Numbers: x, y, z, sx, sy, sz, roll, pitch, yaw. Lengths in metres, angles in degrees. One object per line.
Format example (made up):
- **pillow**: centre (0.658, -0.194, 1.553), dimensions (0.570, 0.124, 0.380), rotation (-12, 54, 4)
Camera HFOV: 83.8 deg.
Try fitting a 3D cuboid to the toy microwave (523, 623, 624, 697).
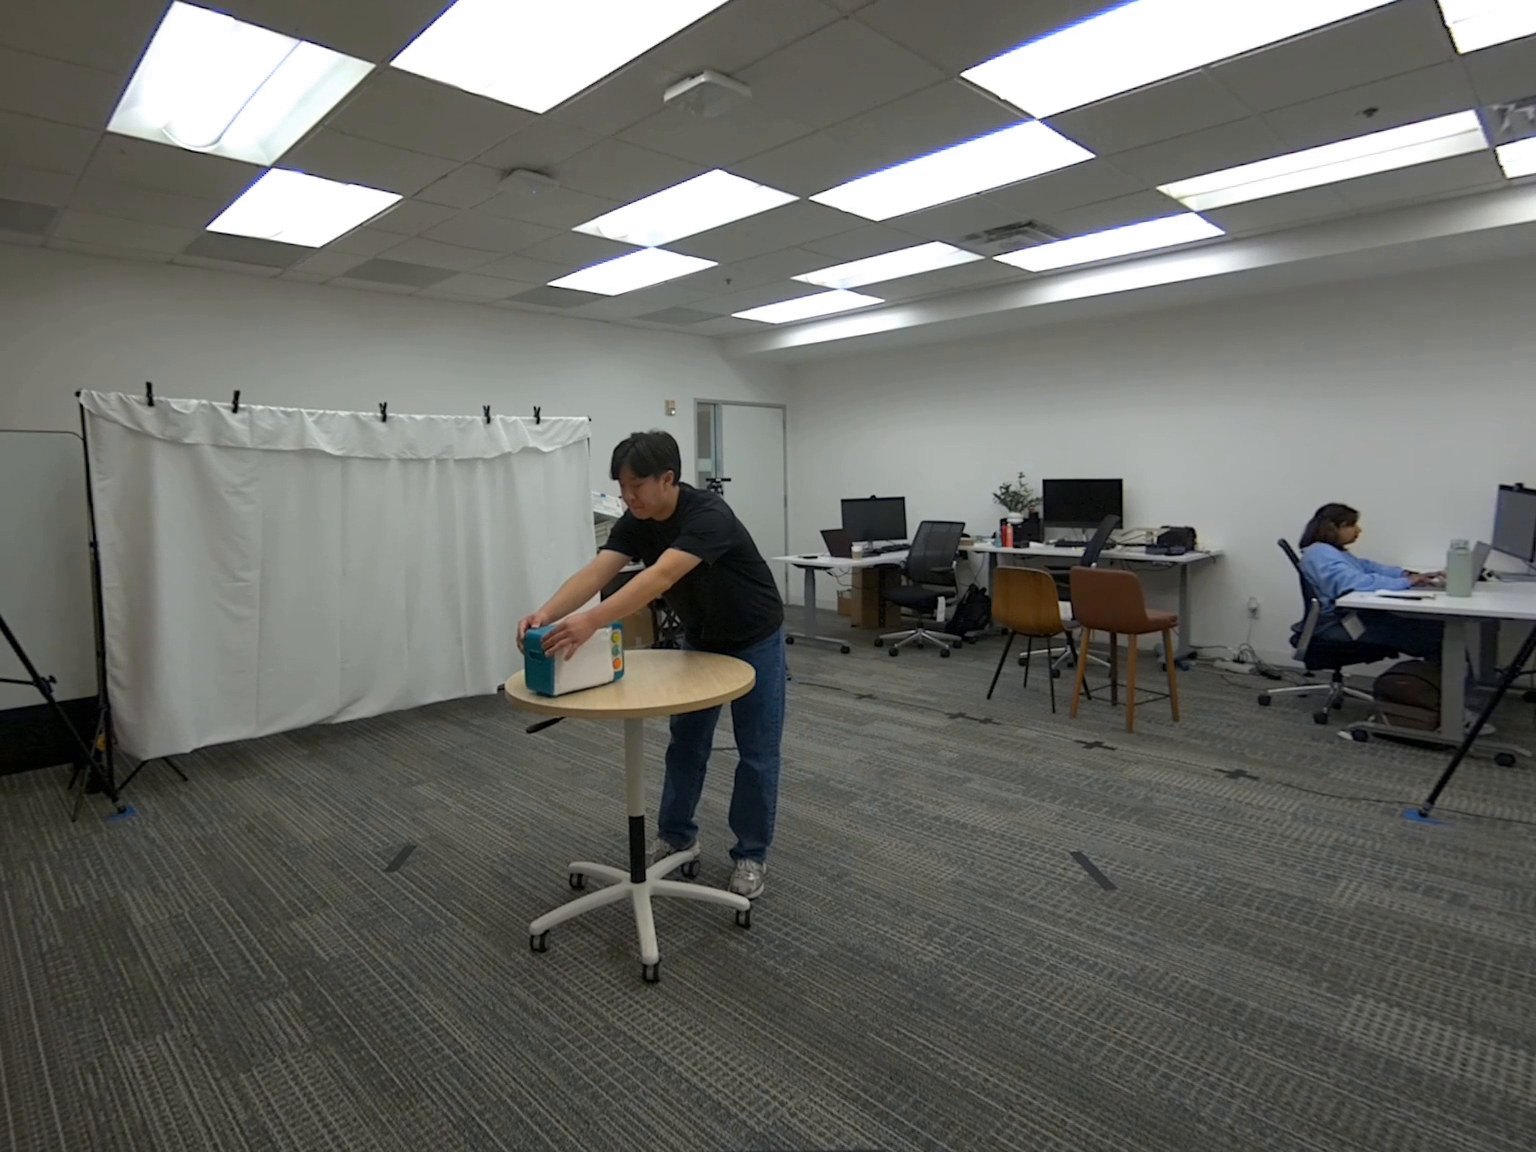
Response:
- **toy microwave**: centre (-0.562, 0.236, 2.509), dimensions (0.157, 0.183, 0.279), rotation (3, 6, 40)
